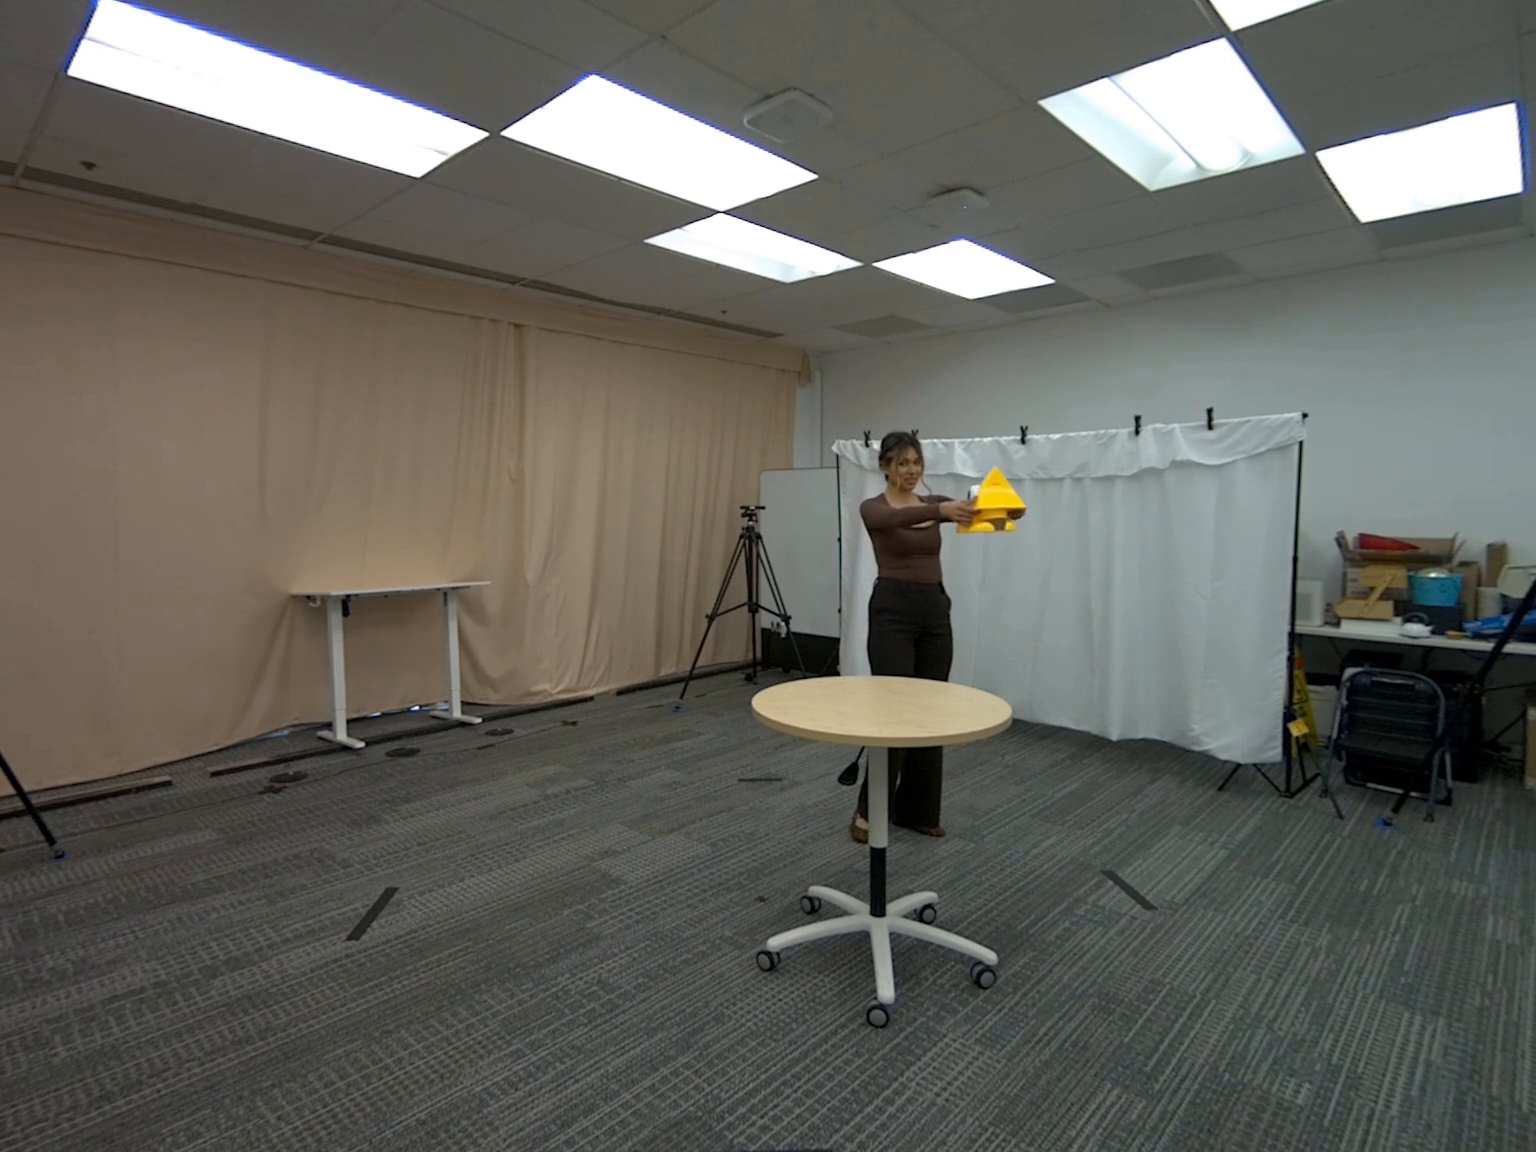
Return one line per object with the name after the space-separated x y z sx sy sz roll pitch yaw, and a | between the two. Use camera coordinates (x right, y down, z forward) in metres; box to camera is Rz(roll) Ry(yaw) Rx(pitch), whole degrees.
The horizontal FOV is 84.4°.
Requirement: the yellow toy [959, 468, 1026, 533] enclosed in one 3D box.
0.781 -0.274 3.071 0.200 0.231 0.197 -2 0 -21 | yellow toy
